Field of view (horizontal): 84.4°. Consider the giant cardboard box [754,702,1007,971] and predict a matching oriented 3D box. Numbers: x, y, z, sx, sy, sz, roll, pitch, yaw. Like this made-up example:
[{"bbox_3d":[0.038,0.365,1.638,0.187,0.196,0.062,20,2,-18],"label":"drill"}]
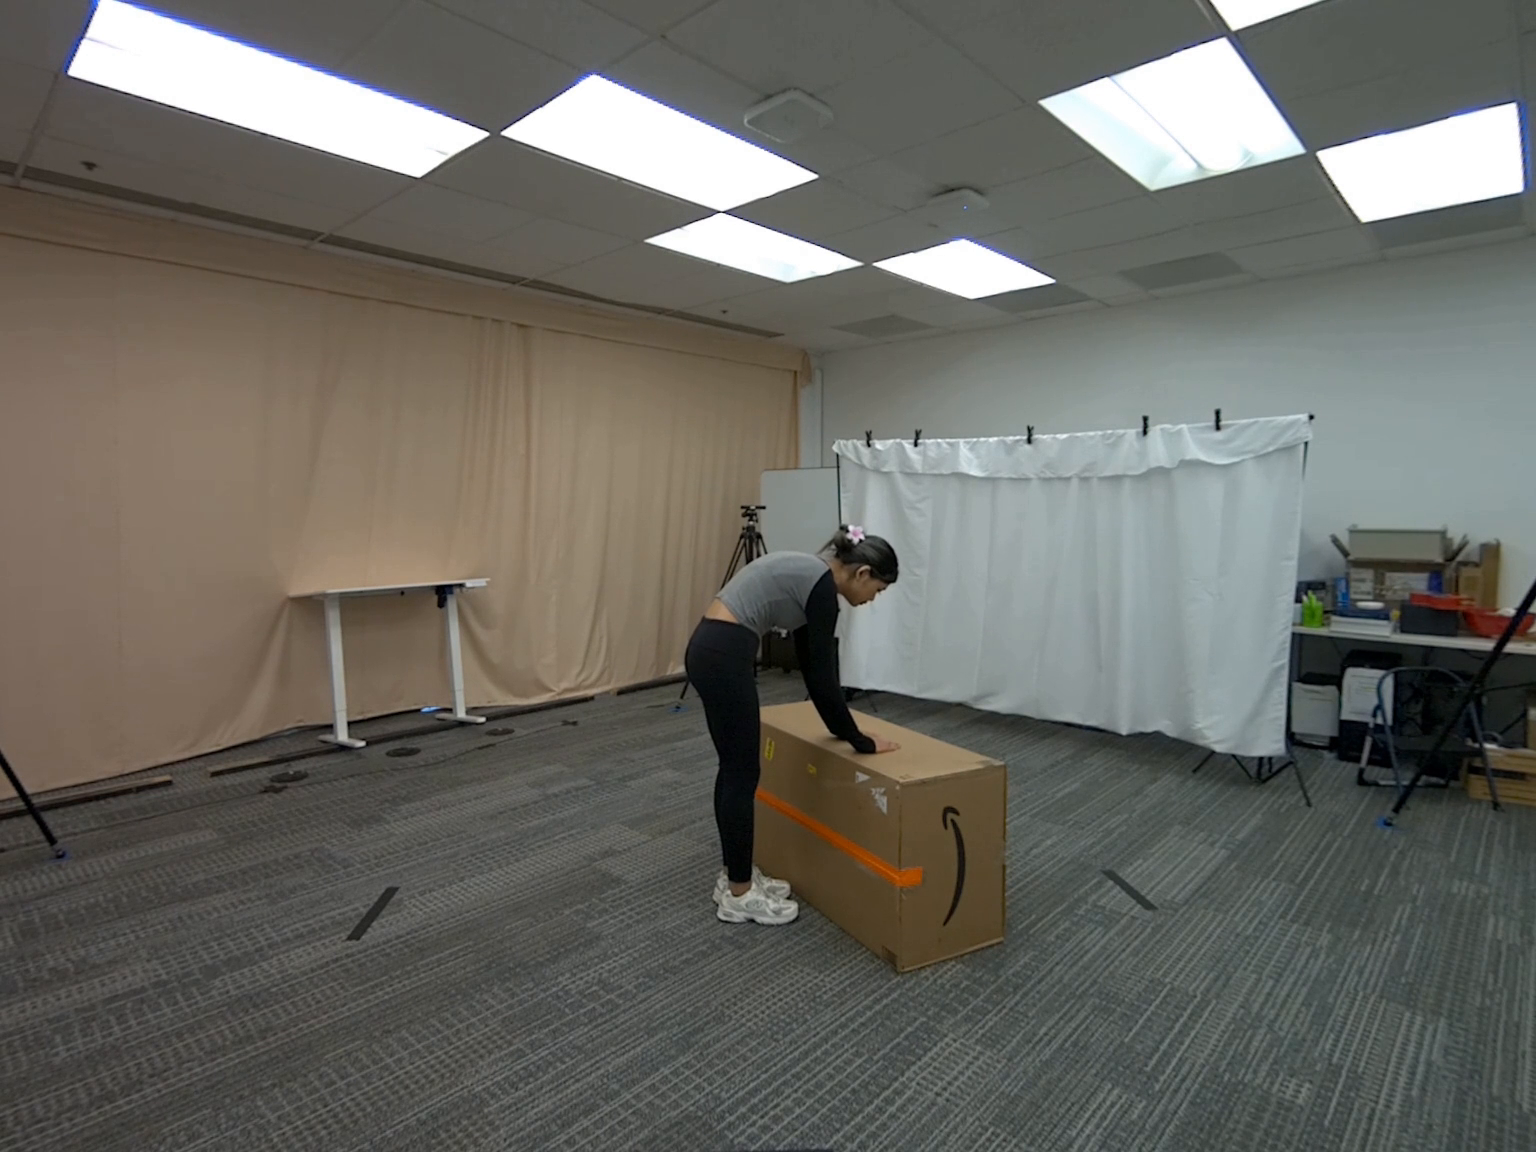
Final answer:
[{"bbox_3d":[0.320,0.849,3.033,0.415,0.576,1.055,-2,4,-29],"label":"giant cardboard box"}]
